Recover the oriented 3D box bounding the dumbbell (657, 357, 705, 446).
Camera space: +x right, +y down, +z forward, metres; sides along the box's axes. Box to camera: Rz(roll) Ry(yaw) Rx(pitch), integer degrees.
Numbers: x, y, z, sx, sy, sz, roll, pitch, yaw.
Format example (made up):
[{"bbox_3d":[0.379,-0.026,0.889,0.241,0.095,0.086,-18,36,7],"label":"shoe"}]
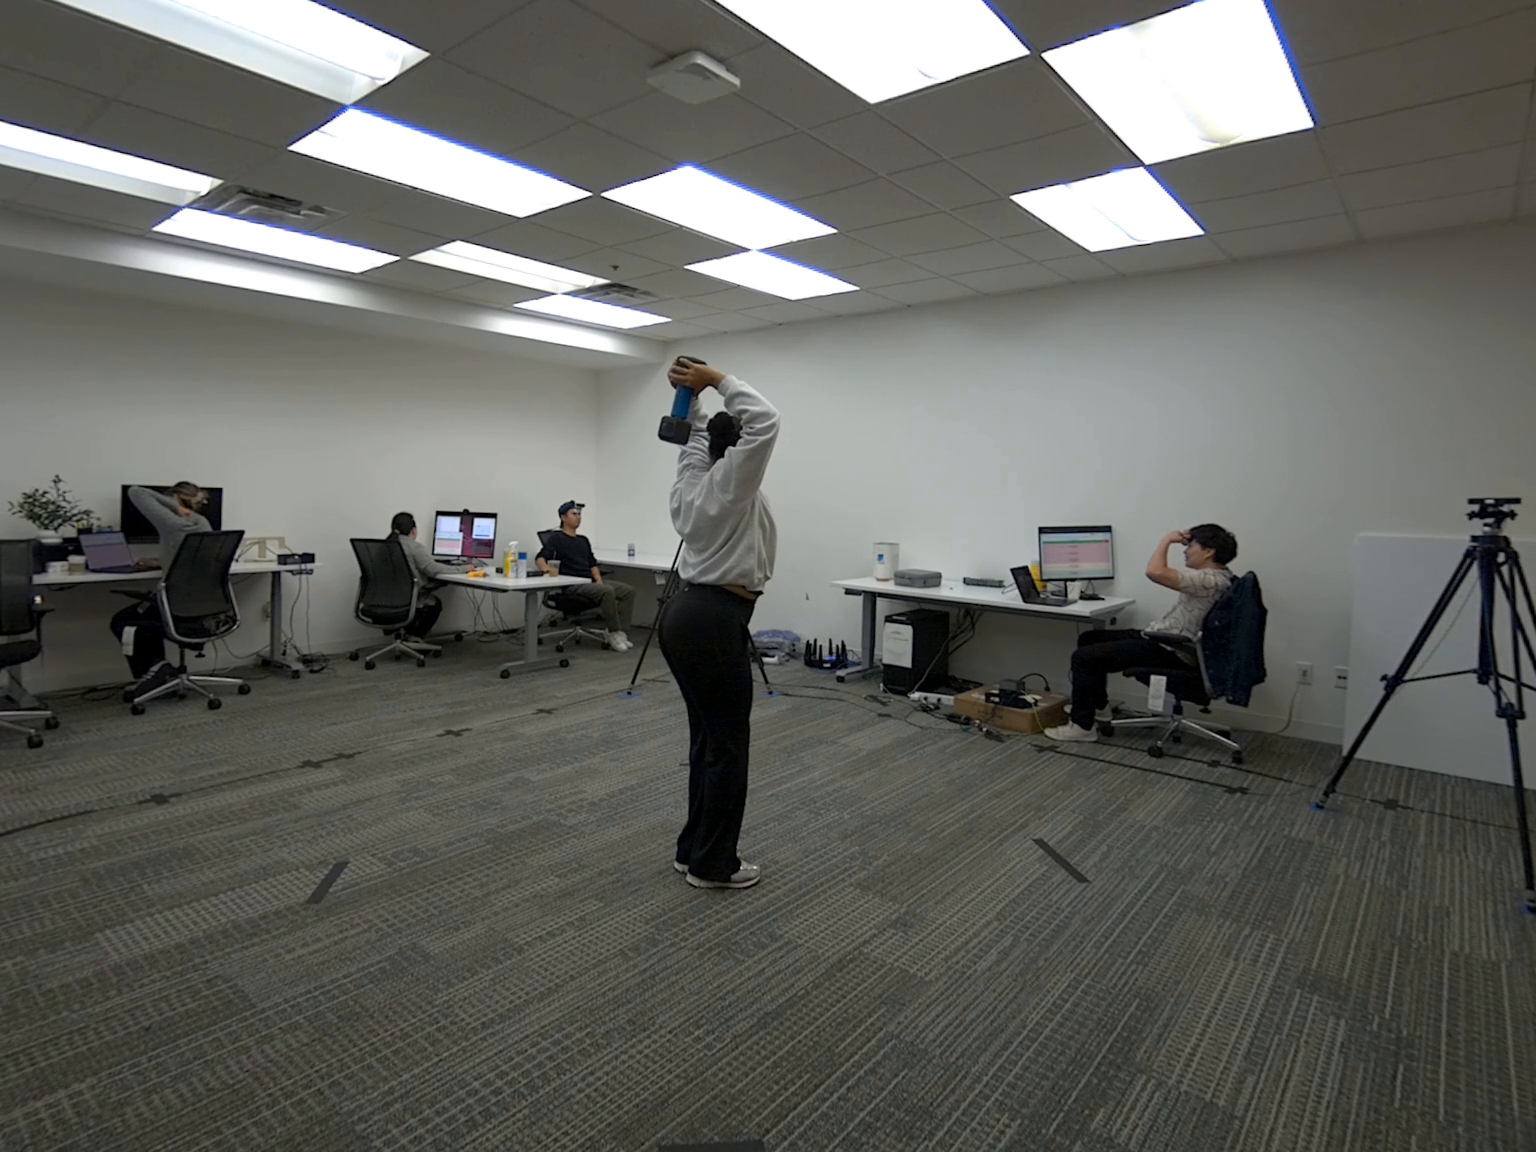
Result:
[{"bbox_3d":[-0.305,-0.605,2.918,0.126,0.294,0.105,13,-4,23],"label":"dumbbell"}]
